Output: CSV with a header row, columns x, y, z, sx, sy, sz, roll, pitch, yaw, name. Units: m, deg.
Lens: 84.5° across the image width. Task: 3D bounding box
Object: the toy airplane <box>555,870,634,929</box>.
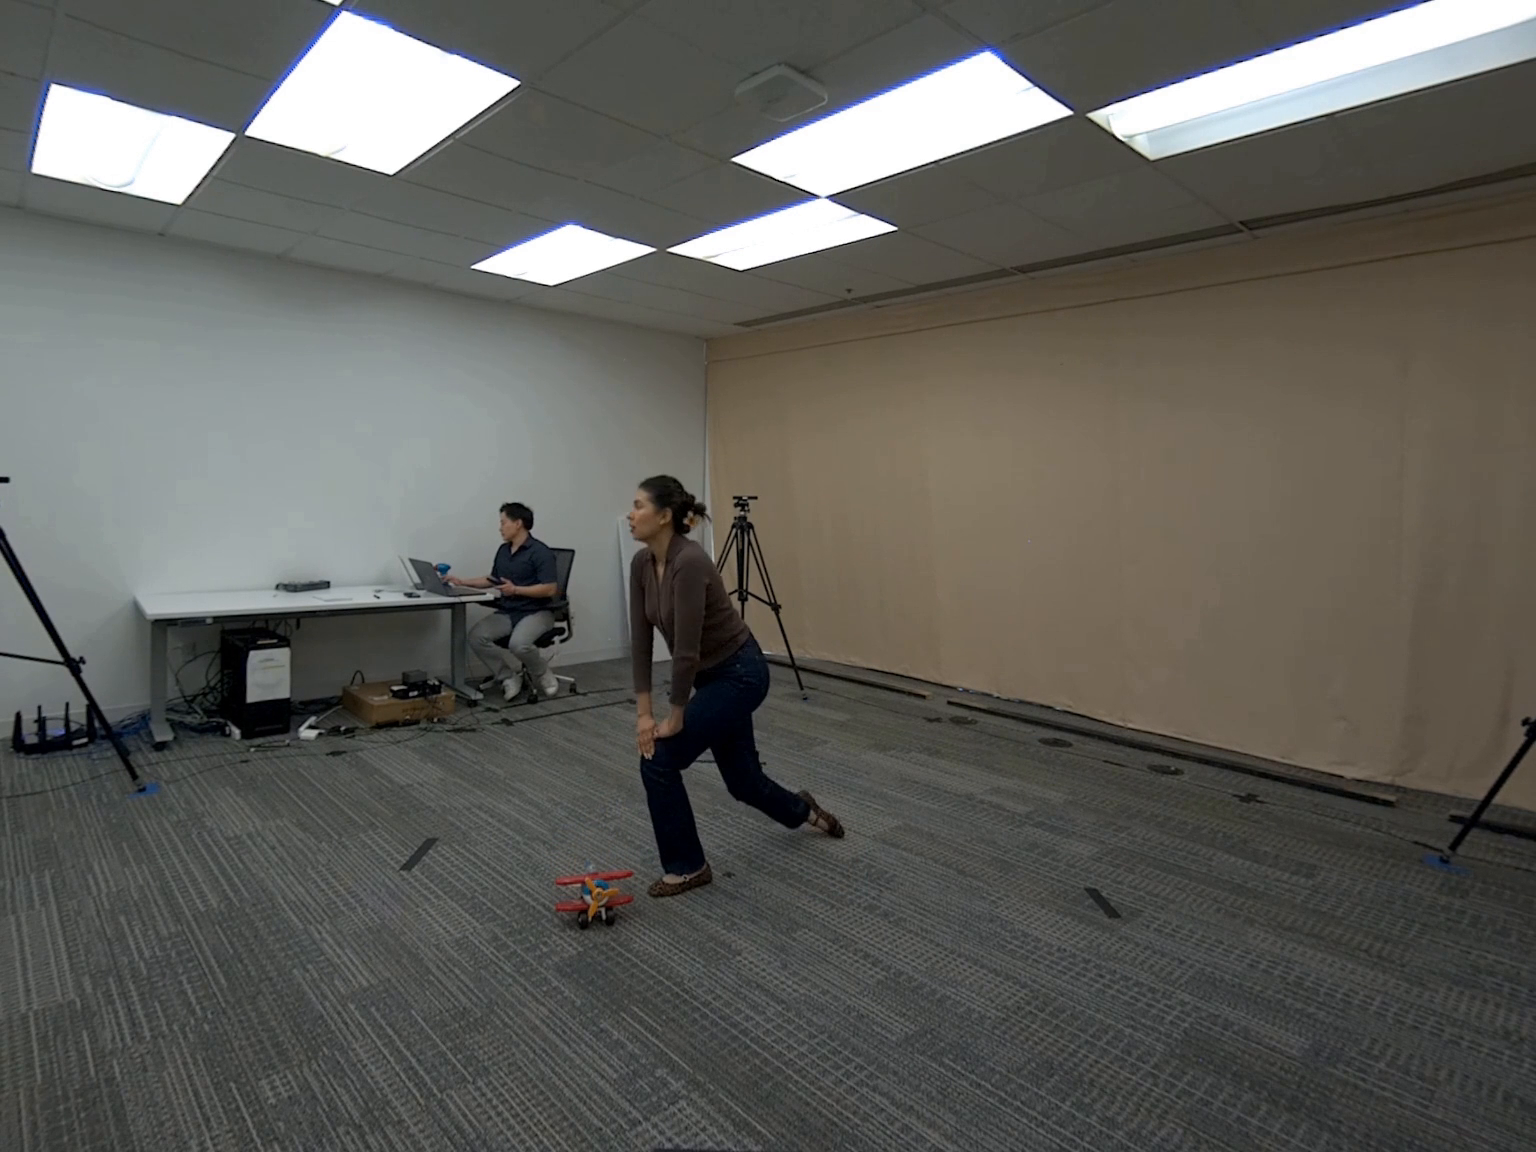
x,y,z,sx,sy,sz,roll,pitch,yaw,name
-0.600,1.047,2.782,0.266,0.156,0.245,7,8,43,toy airplane
